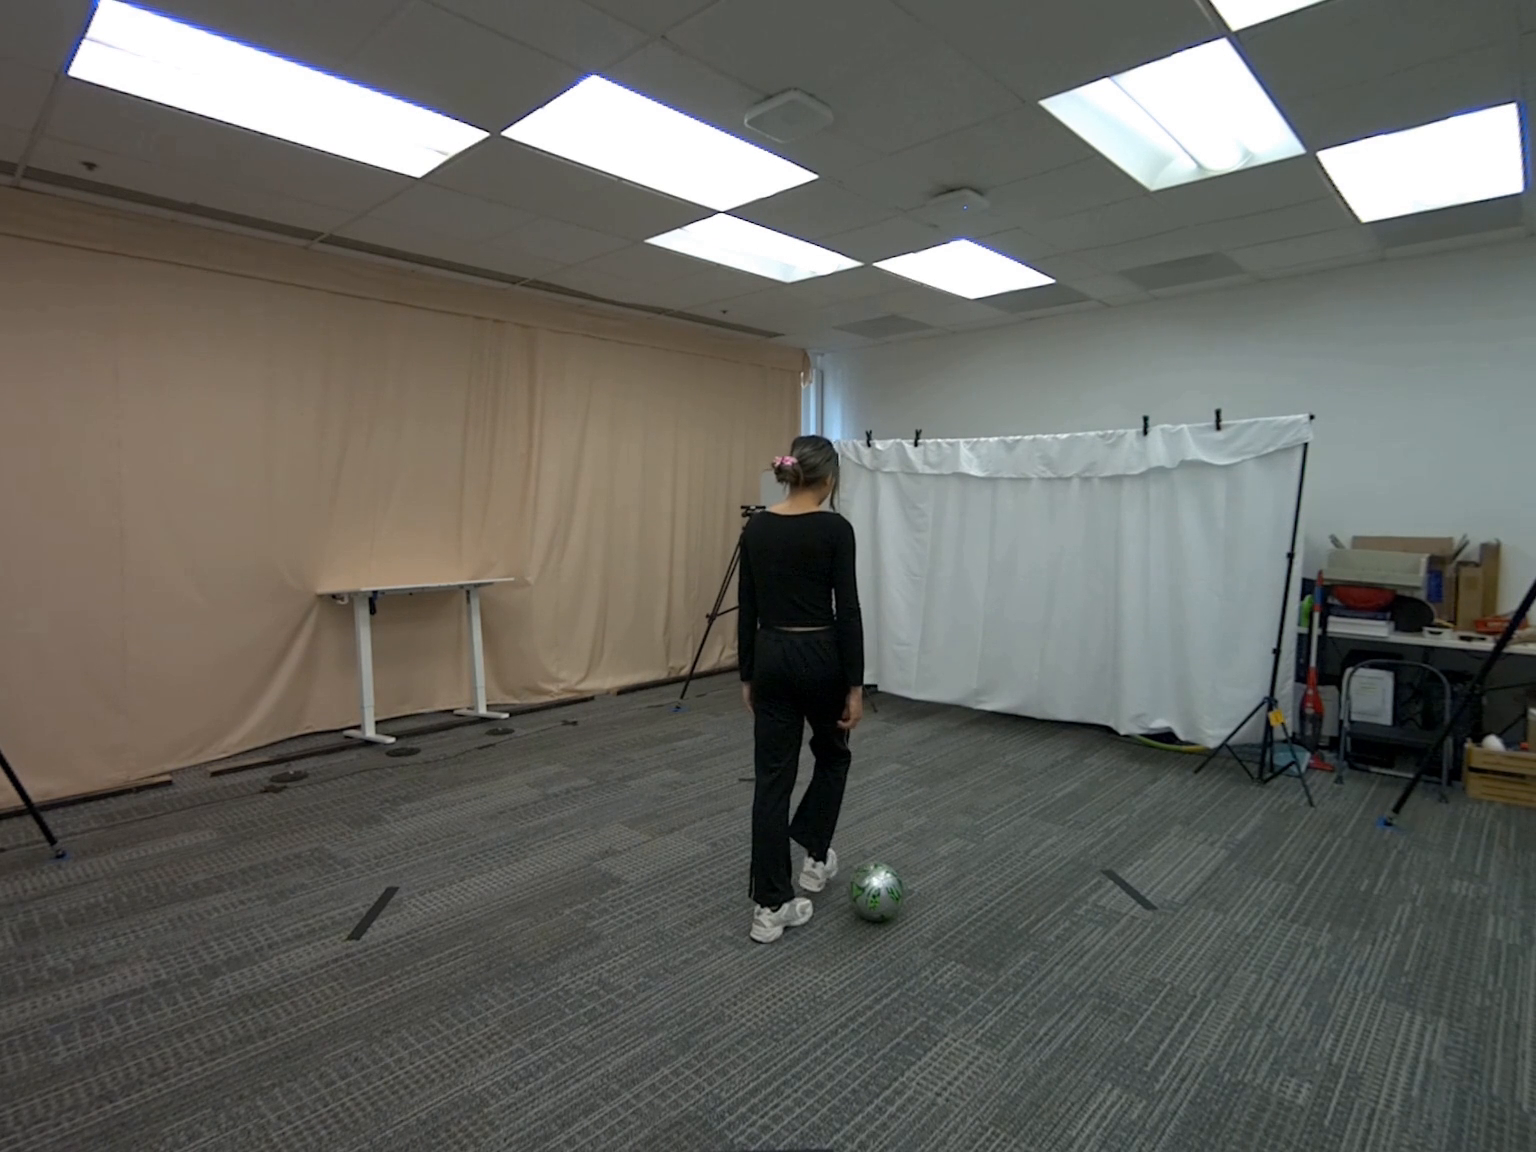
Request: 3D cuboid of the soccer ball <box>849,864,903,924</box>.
[{"bbox_3d":[0.366,1.062,2.832,0.187,0.187,0.188,0,4,-2],"label":"soccer ball"}]
